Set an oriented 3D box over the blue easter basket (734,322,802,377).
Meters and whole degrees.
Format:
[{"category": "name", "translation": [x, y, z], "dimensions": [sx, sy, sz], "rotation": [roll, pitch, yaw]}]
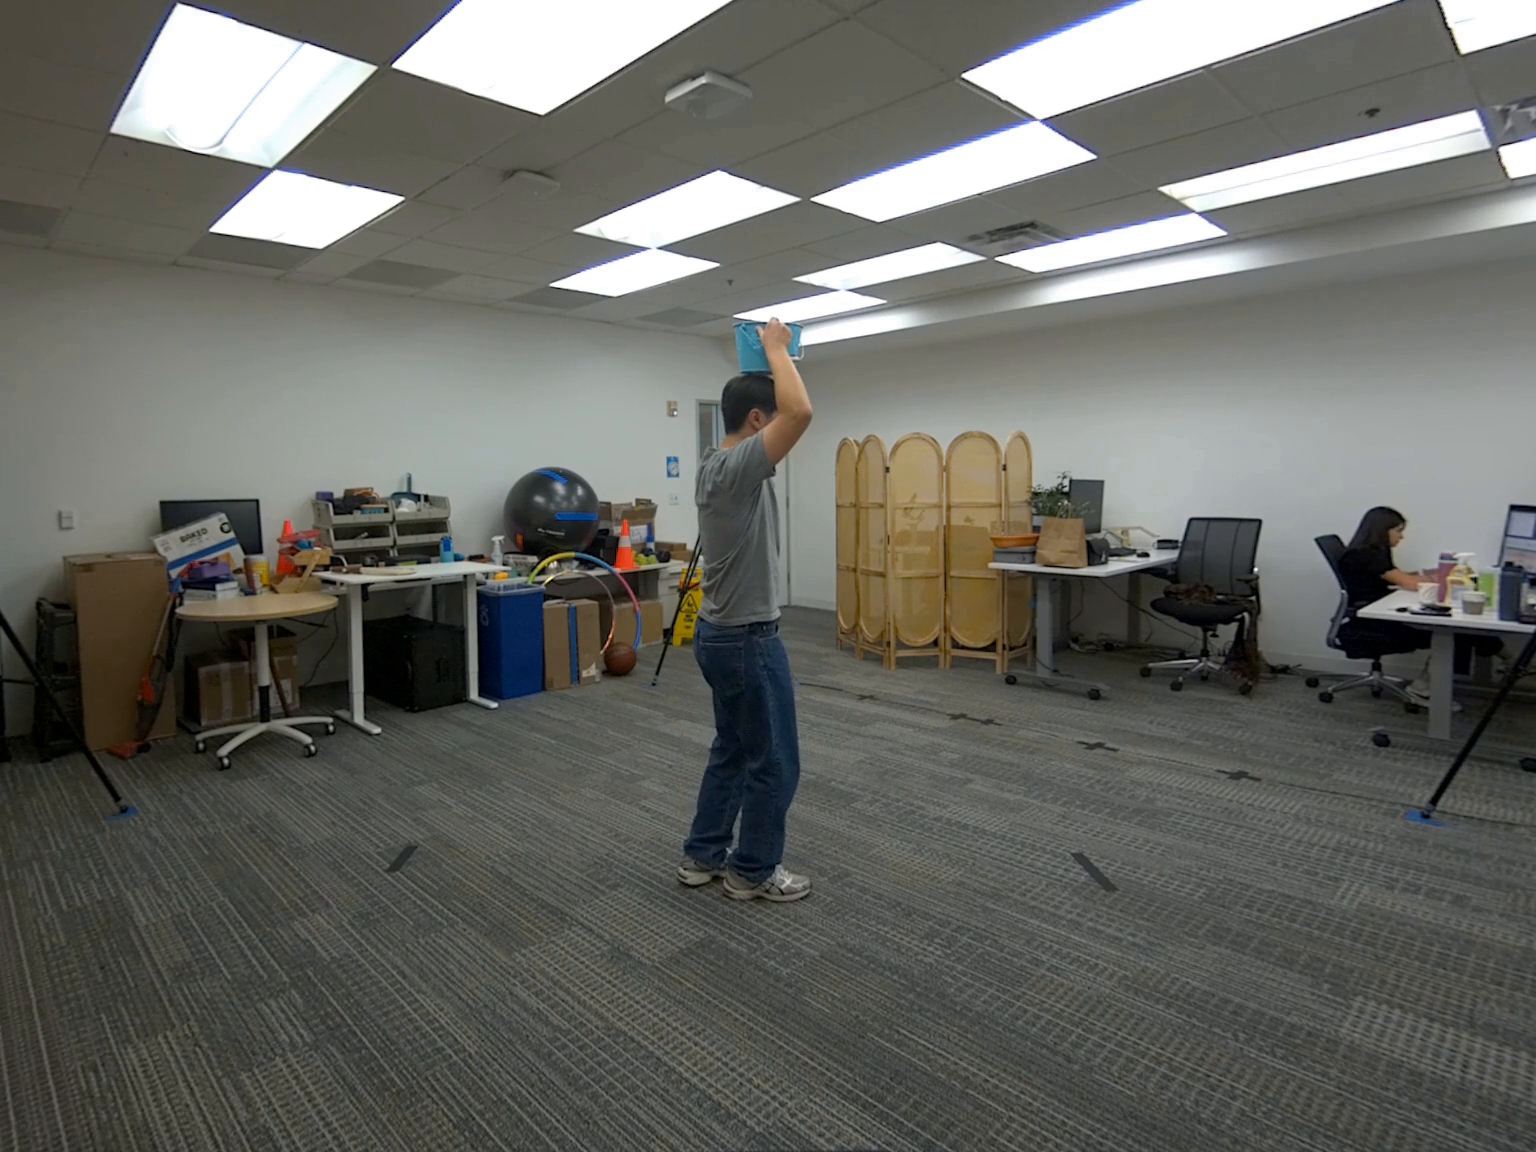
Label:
[{"category": "blue easter basket", "translation": [0.000, -0.745, 2.796], "dimensions": [0.243, 0.155, 0.245], "rotation": [0, 8, -2]}]
